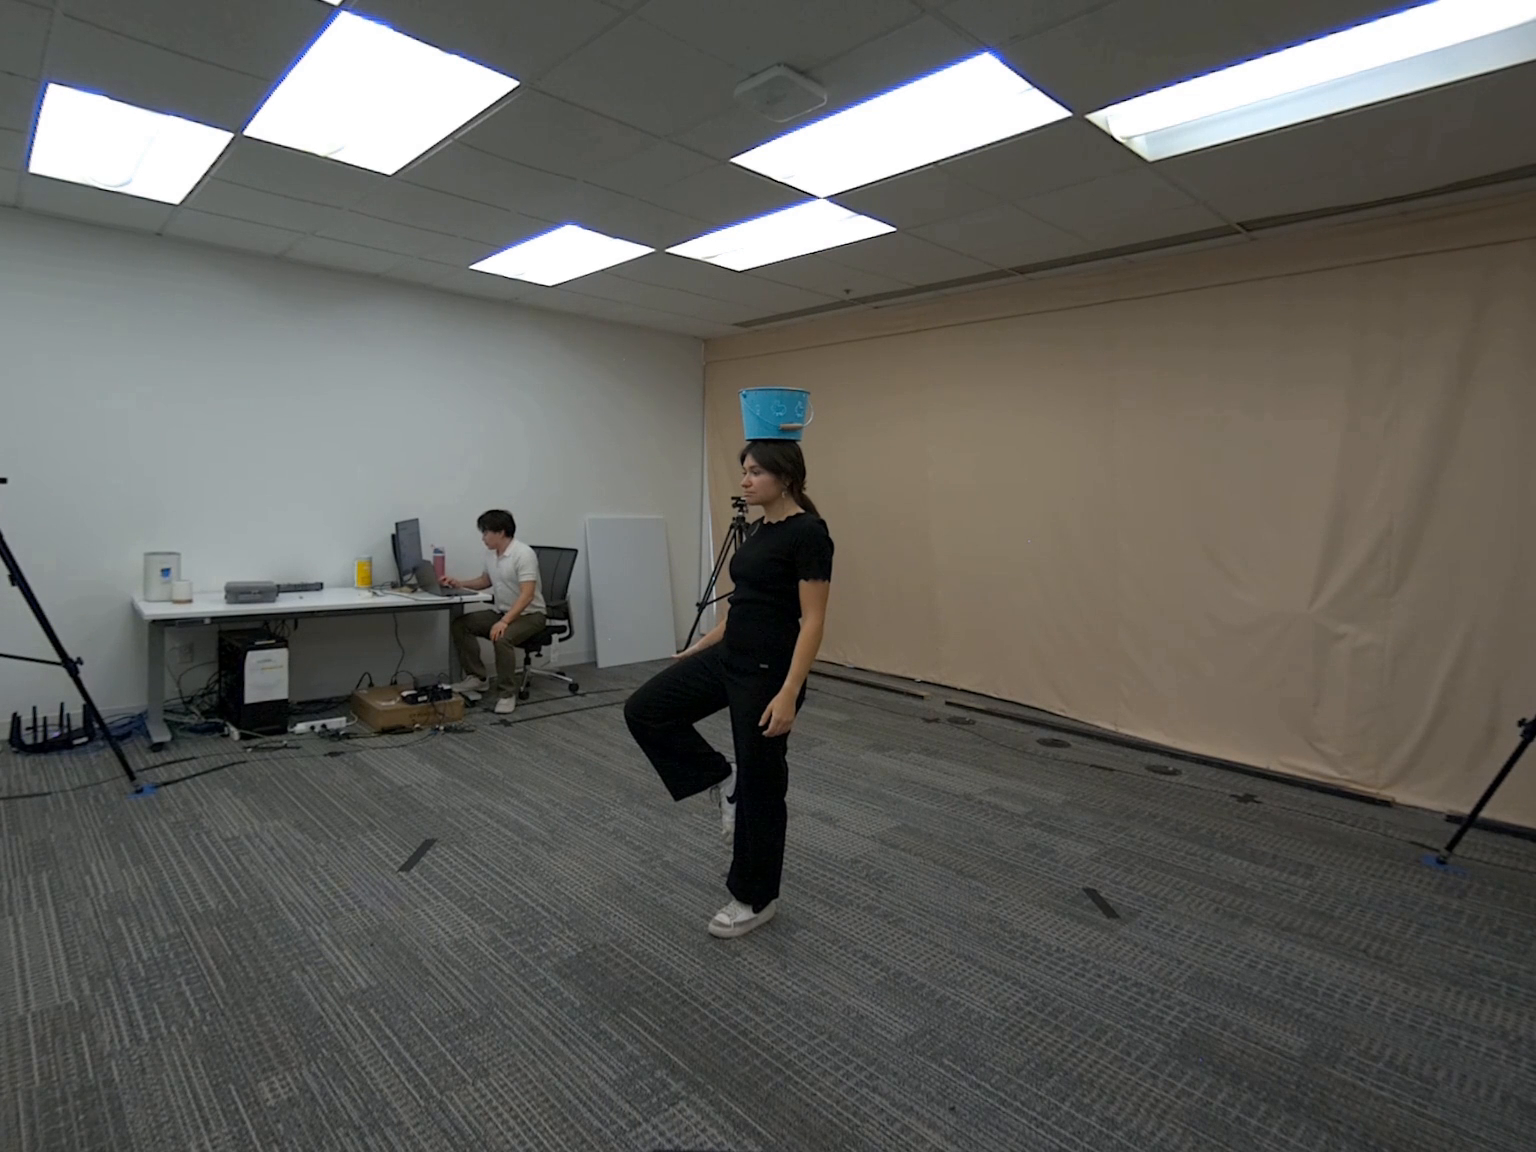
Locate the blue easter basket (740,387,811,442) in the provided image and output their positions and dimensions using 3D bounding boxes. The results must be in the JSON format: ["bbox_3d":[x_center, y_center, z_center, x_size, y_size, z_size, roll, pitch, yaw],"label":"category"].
[{"bbox_3d":[0.019,-0.508,2.662,0.243,0.155,0.244,0,5,-1],"label":"blue easter basket"}]
